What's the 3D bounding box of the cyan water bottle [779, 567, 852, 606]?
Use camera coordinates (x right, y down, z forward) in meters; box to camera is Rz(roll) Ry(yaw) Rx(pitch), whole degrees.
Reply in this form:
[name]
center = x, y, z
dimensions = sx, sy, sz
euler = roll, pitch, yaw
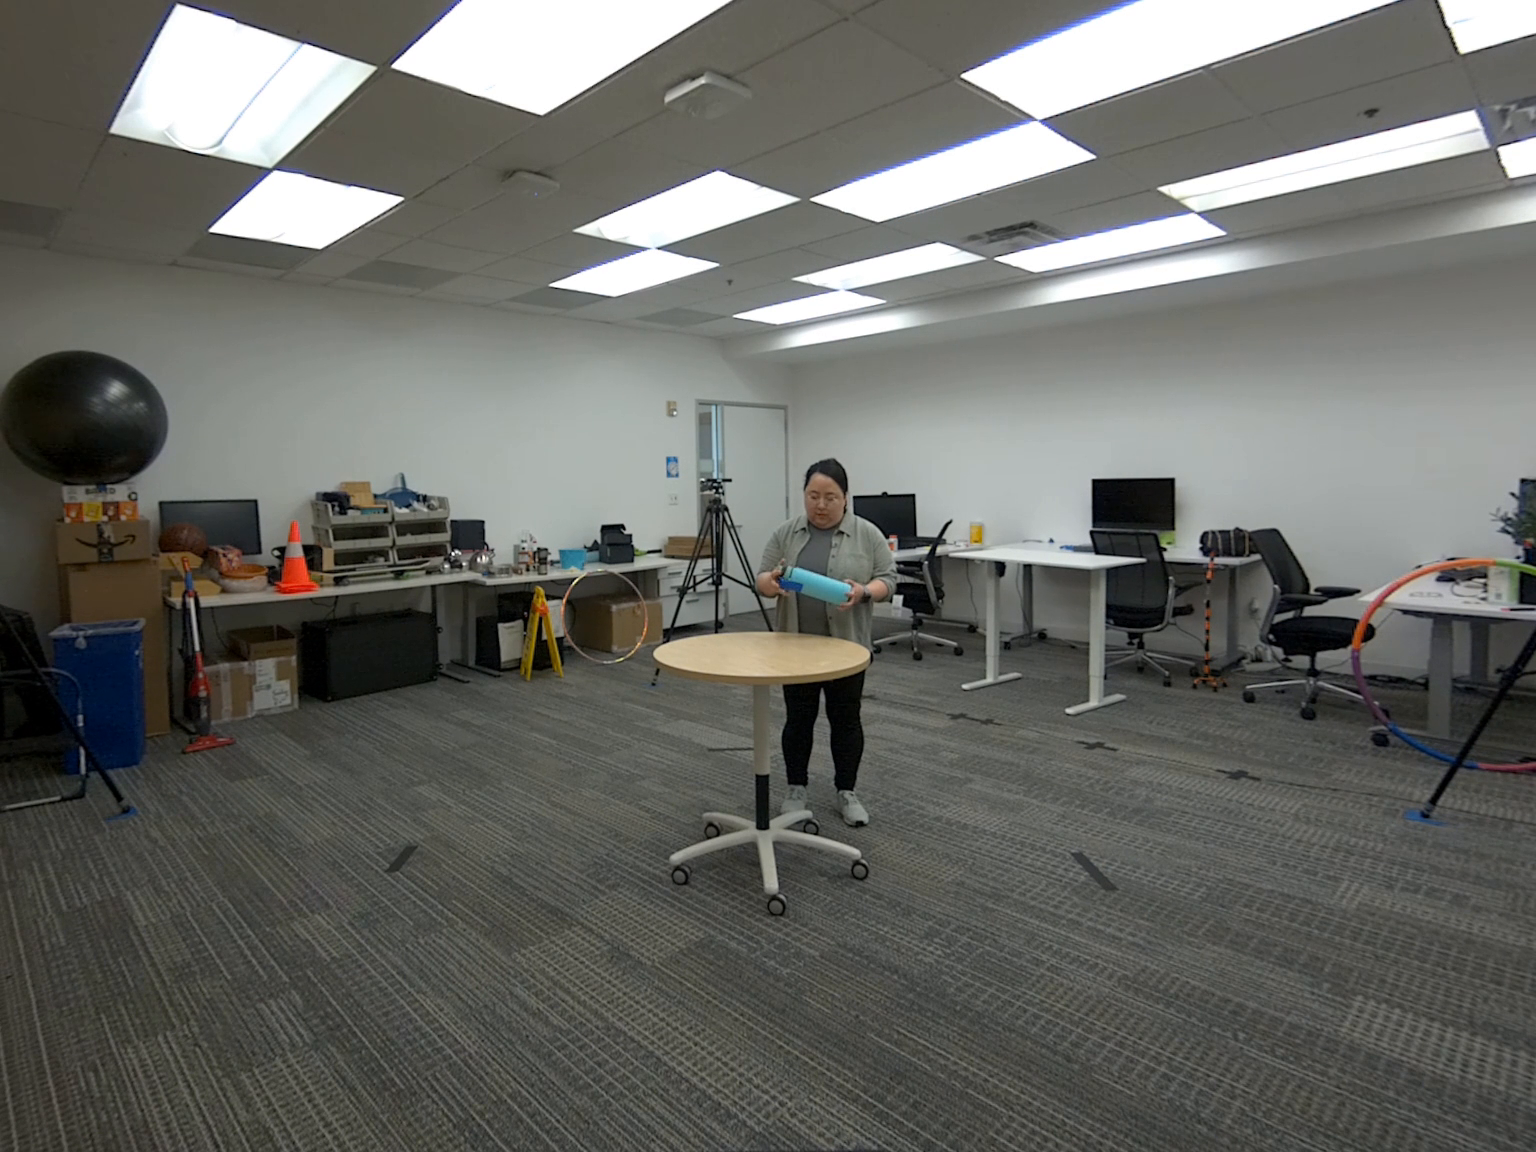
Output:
[cyan water bottle]
center = 0.159, 0.040, 3.262
dimensions = 0.285, 0.092, 0.092
euler = 22, 6, 4
